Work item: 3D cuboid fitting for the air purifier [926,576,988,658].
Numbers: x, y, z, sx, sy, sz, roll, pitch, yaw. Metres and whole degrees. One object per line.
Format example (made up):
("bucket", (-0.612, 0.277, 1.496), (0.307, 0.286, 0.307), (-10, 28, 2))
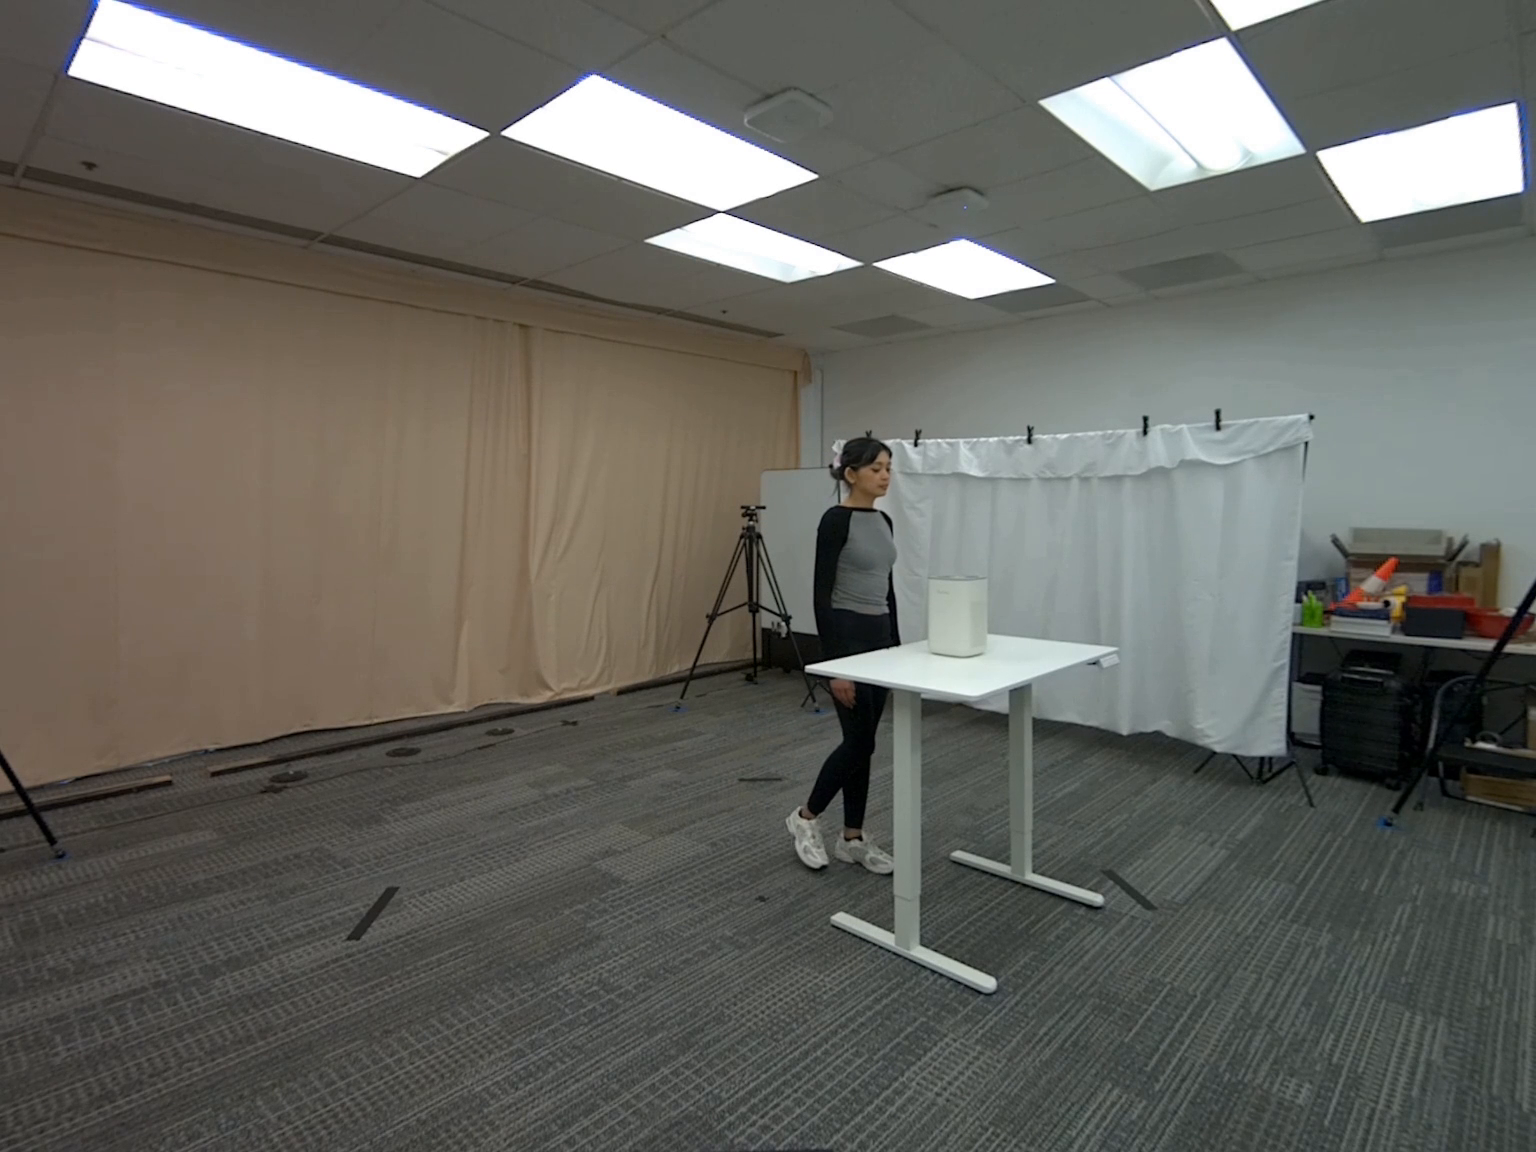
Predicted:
("air purifier", (0.664, 0.137, 2.880), (0.166, 0.264, 0.177), (-5, 6, -45))
